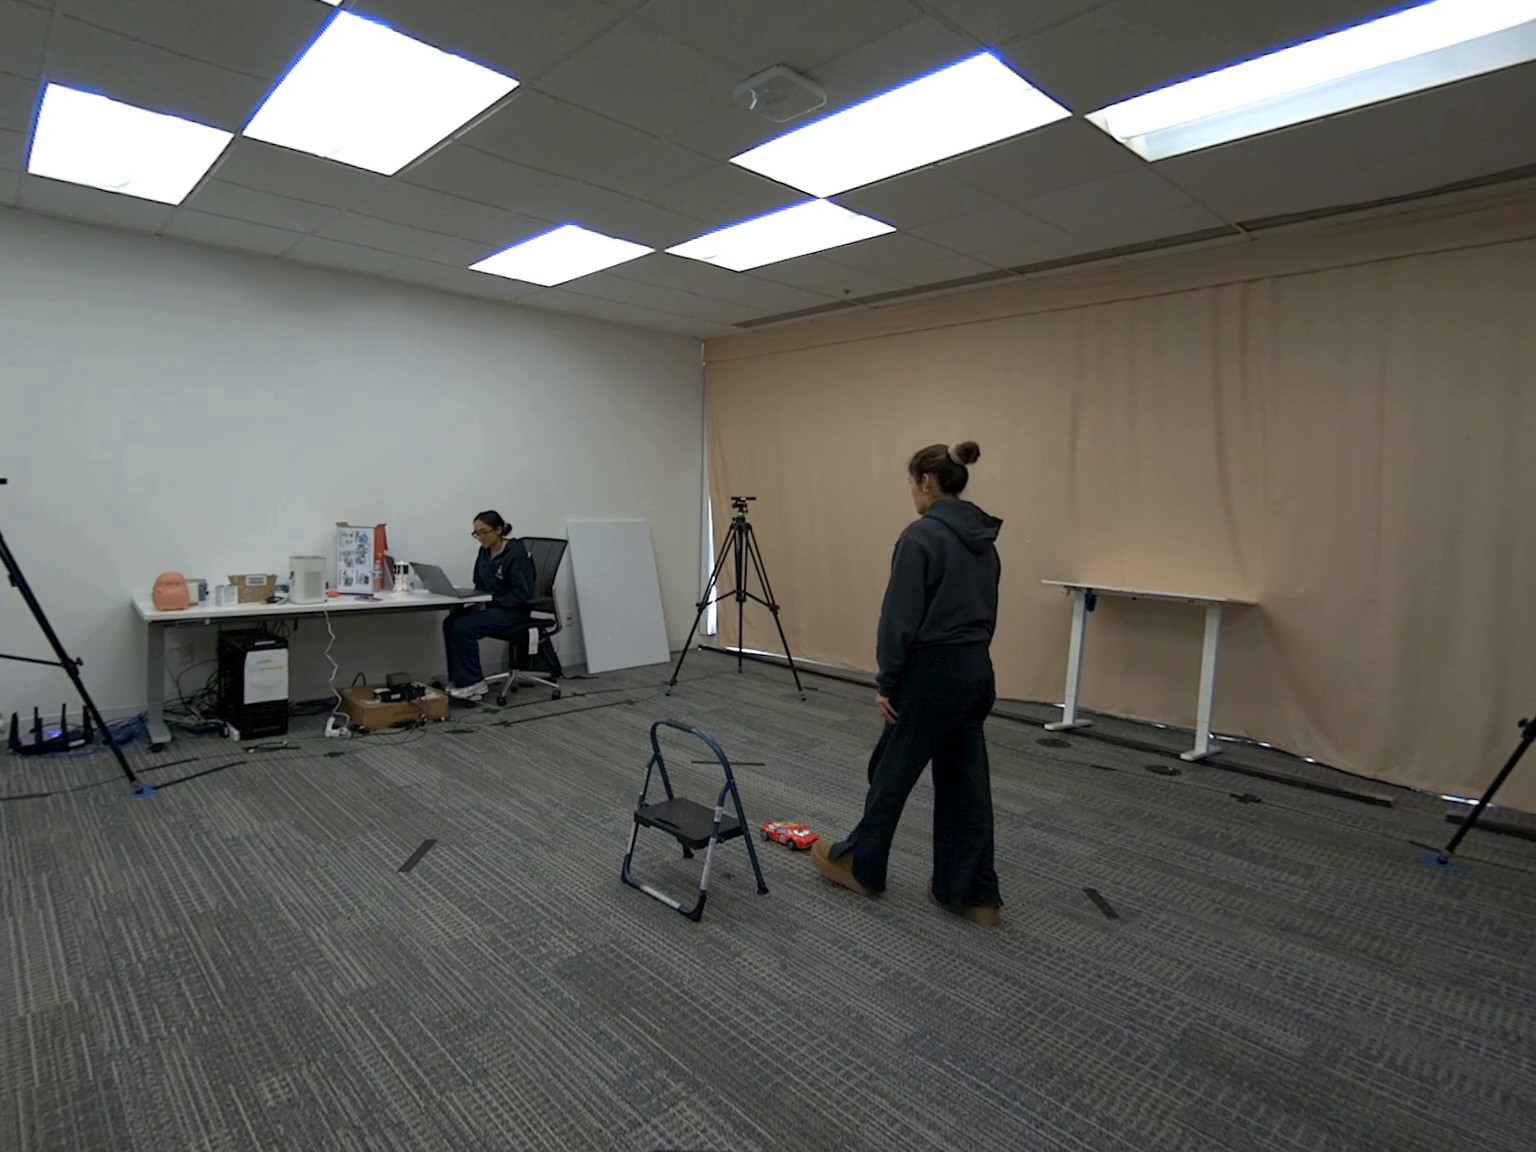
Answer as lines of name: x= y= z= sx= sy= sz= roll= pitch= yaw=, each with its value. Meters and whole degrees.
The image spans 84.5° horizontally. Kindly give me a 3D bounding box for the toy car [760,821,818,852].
toy car: x=0.081 y=1.055 z=3.428 sx=0.259 sy=0.083 sz=0.127 roll=-8 pitch=-4 yaw=42
